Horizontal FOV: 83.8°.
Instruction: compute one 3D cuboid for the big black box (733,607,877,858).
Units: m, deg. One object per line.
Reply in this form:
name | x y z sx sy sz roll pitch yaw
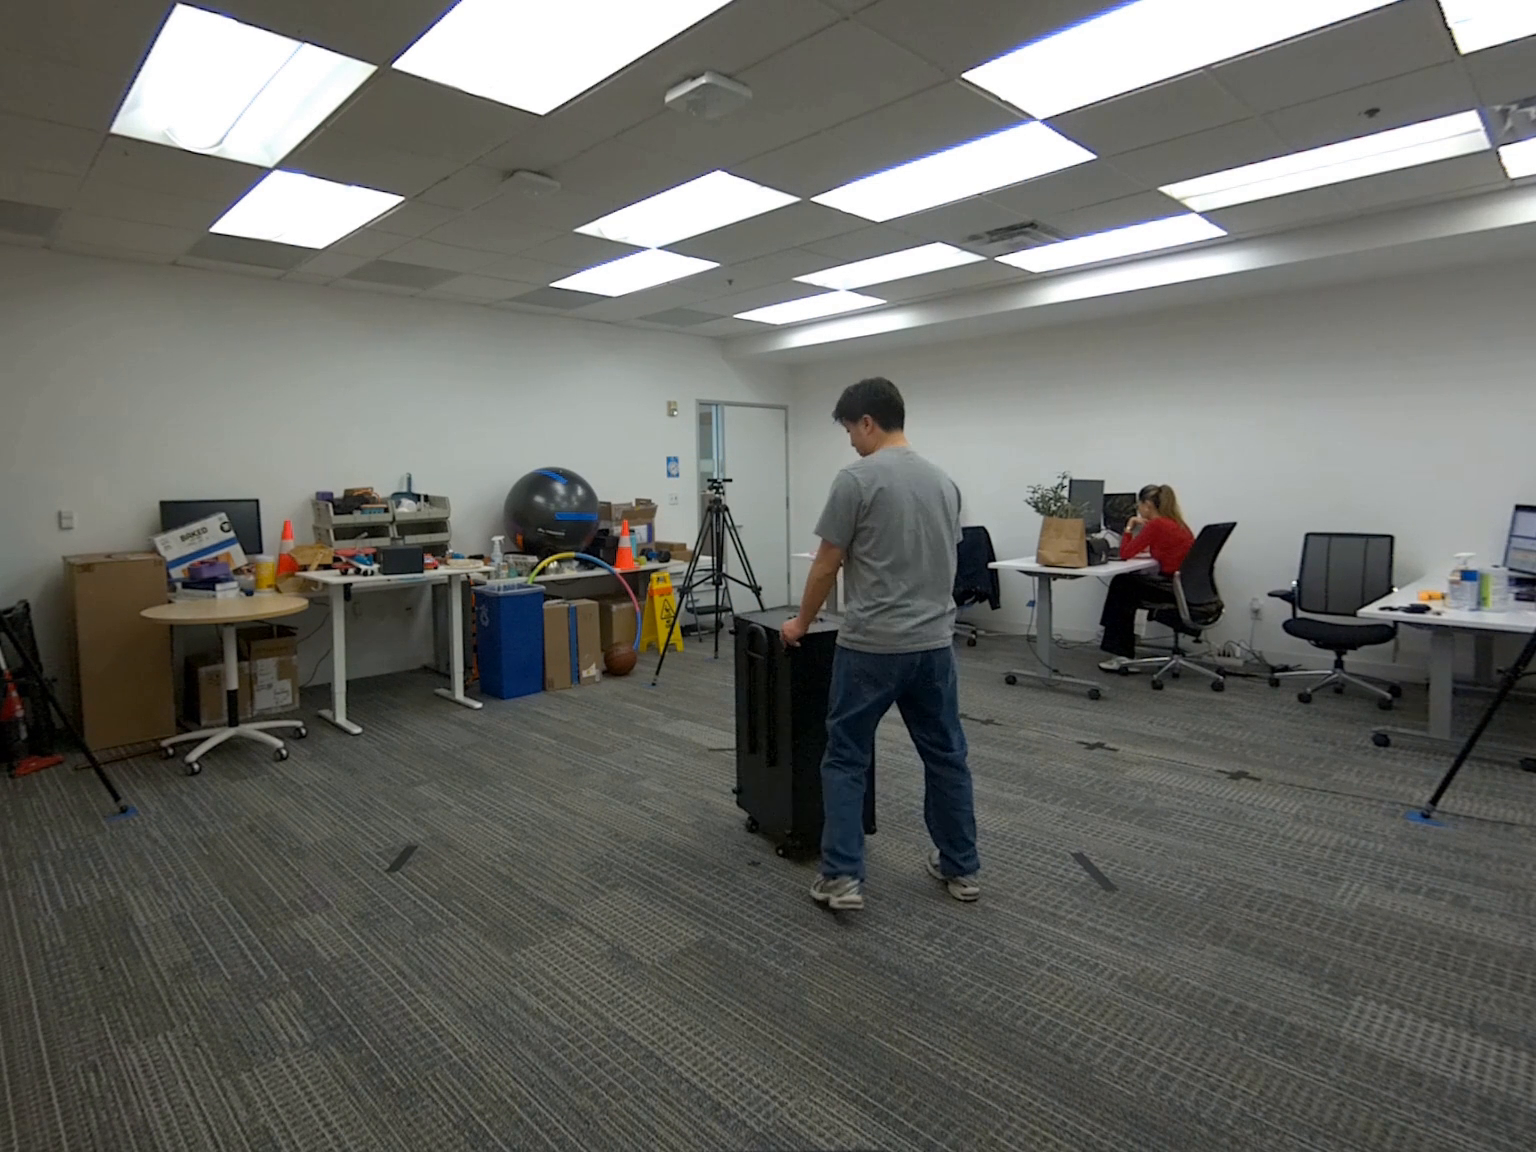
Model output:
big black box | 0.125 0.595 3.297 0.388 0.857 0.534 -4 6 -25
